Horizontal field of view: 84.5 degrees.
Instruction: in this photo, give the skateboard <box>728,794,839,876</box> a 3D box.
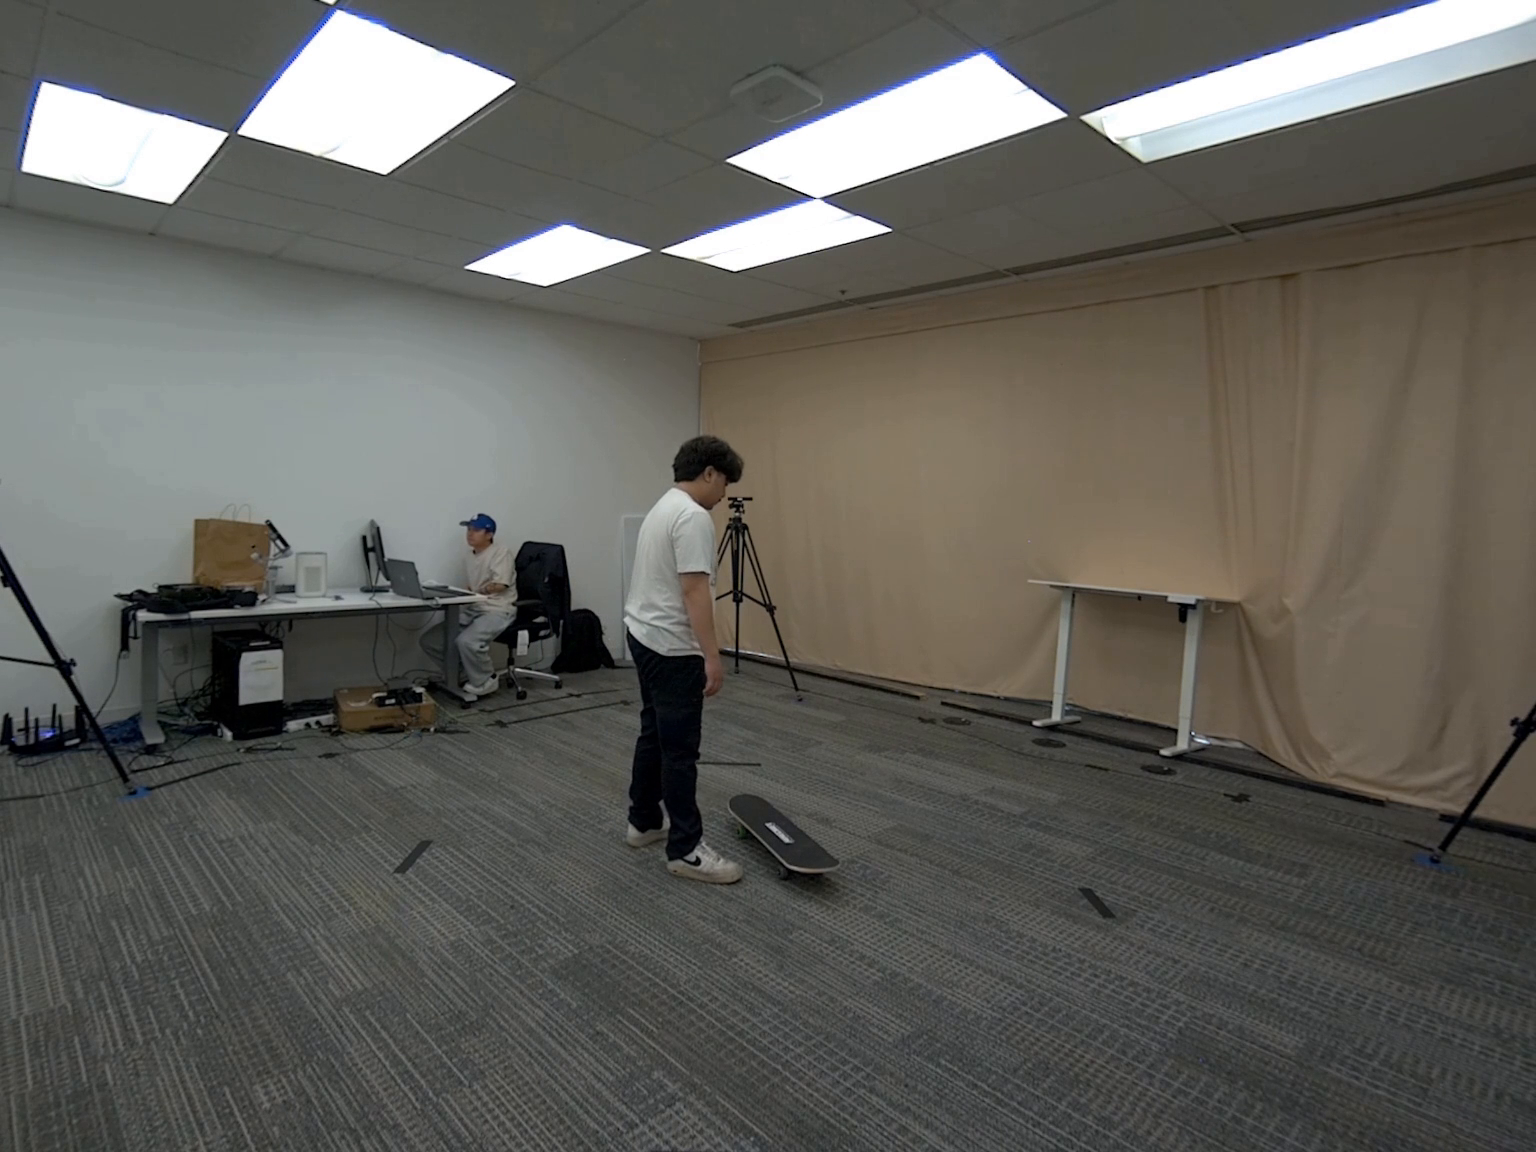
[{"bbox_3d":[0.034,1.039,3.305,0.190,0.110,0.800,0,5,-23],"label":"skateboard"}]
